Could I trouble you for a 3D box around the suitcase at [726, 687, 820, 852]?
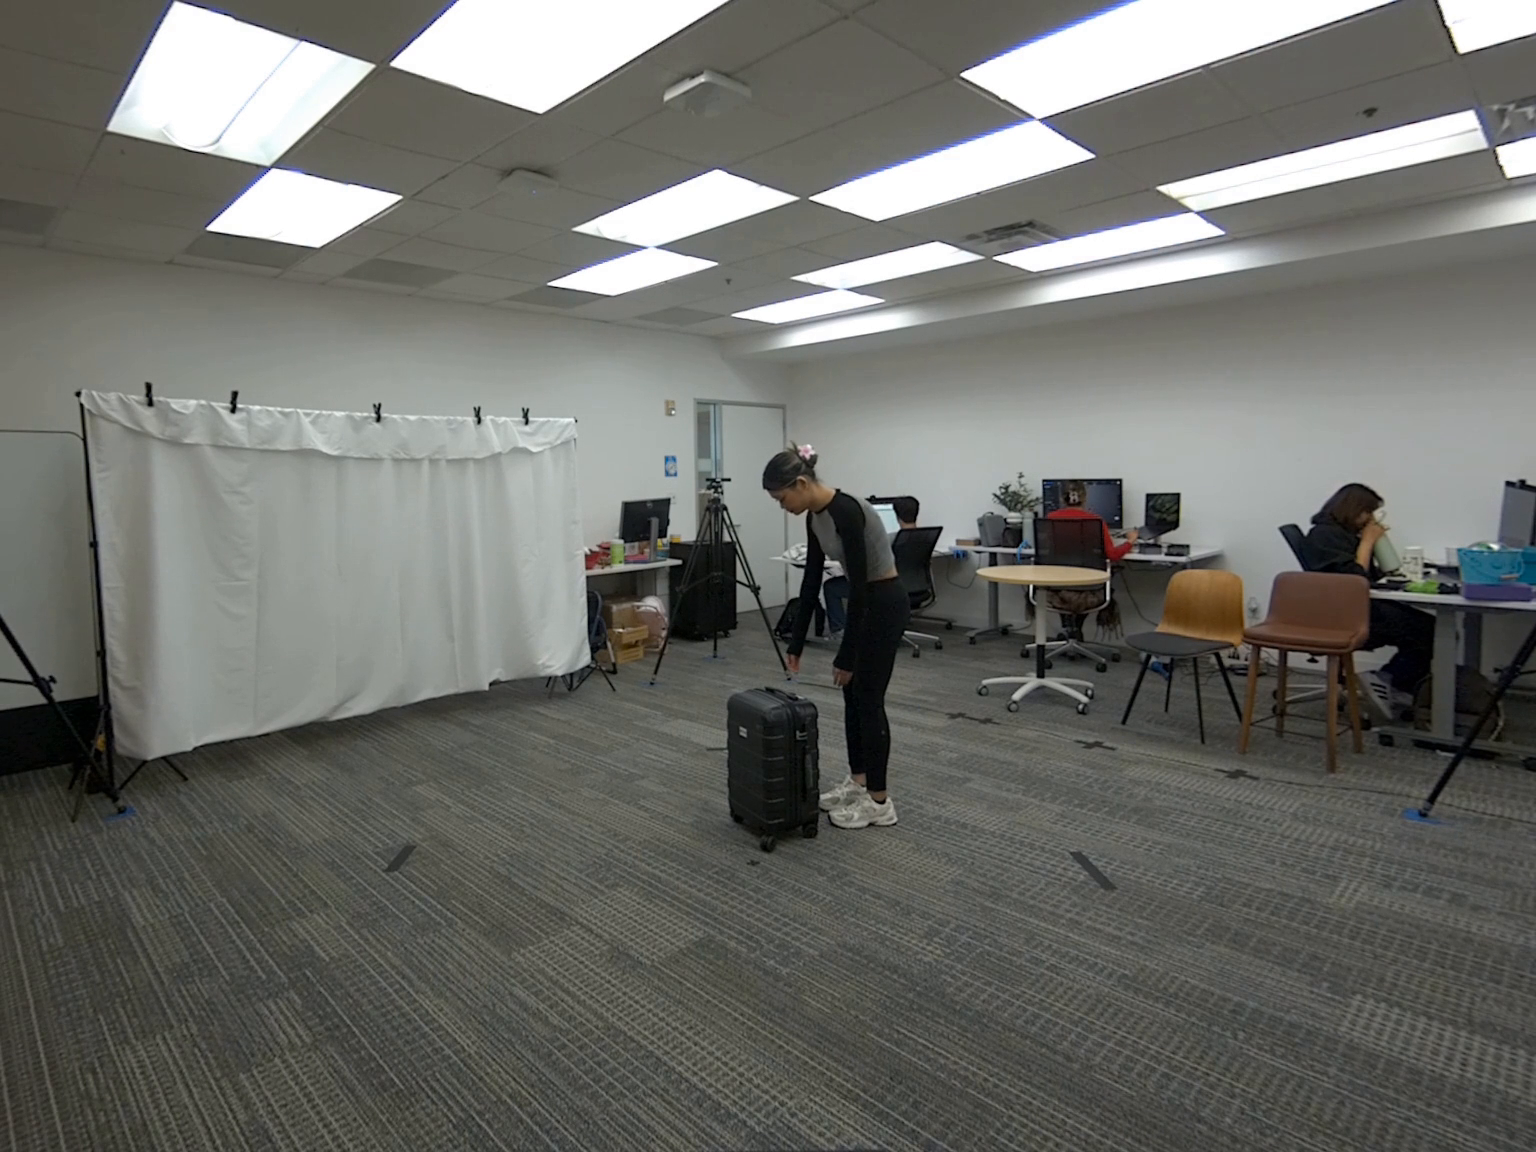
[{"bbox_3d":[0.021,0.730,3.384,0.242,0.547,0.386,-3,6,-30],"label":"suitcase"}]
